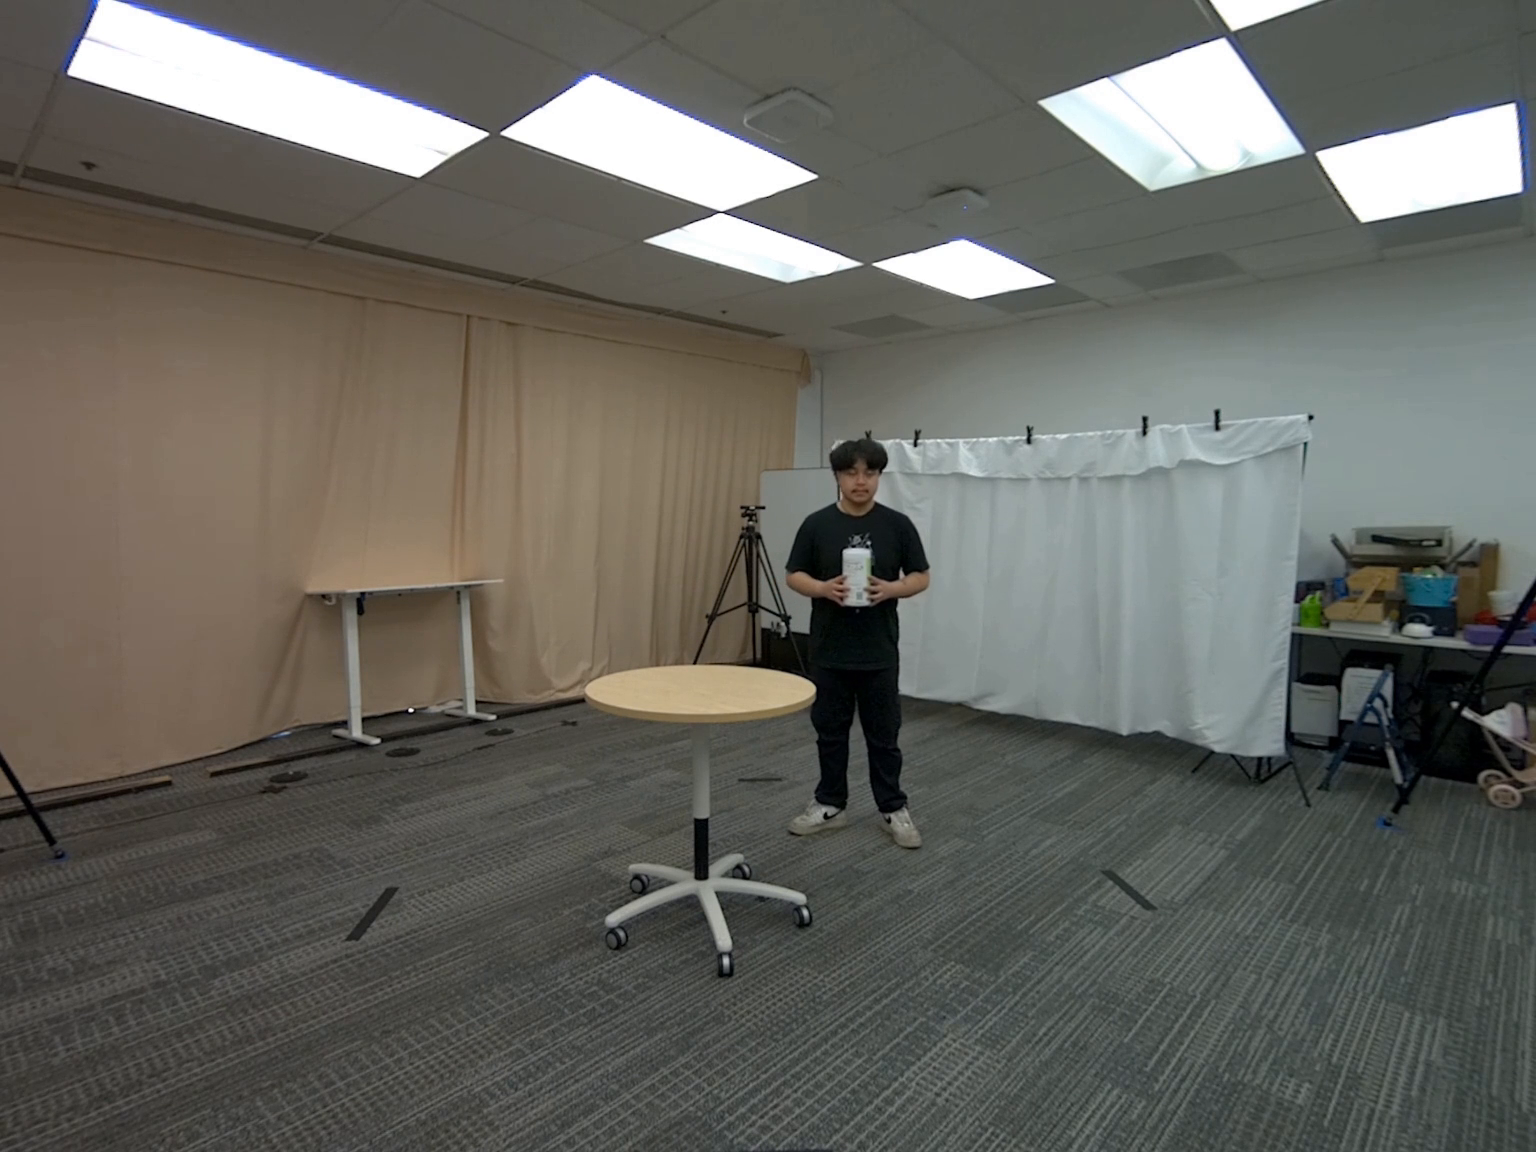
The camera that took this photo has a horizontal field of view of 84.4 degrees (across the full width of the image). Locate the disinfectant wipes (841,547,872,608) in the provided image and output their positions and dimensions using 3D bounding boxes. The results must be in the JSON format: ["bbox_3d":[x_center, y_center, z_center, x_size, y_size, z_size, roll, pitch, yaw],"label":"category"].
[{"bbox_3d":[0.349,0.005,3.309,0.118,0.216,0.118,-1,10,-2],"label":"disinfectant wipes"}]
